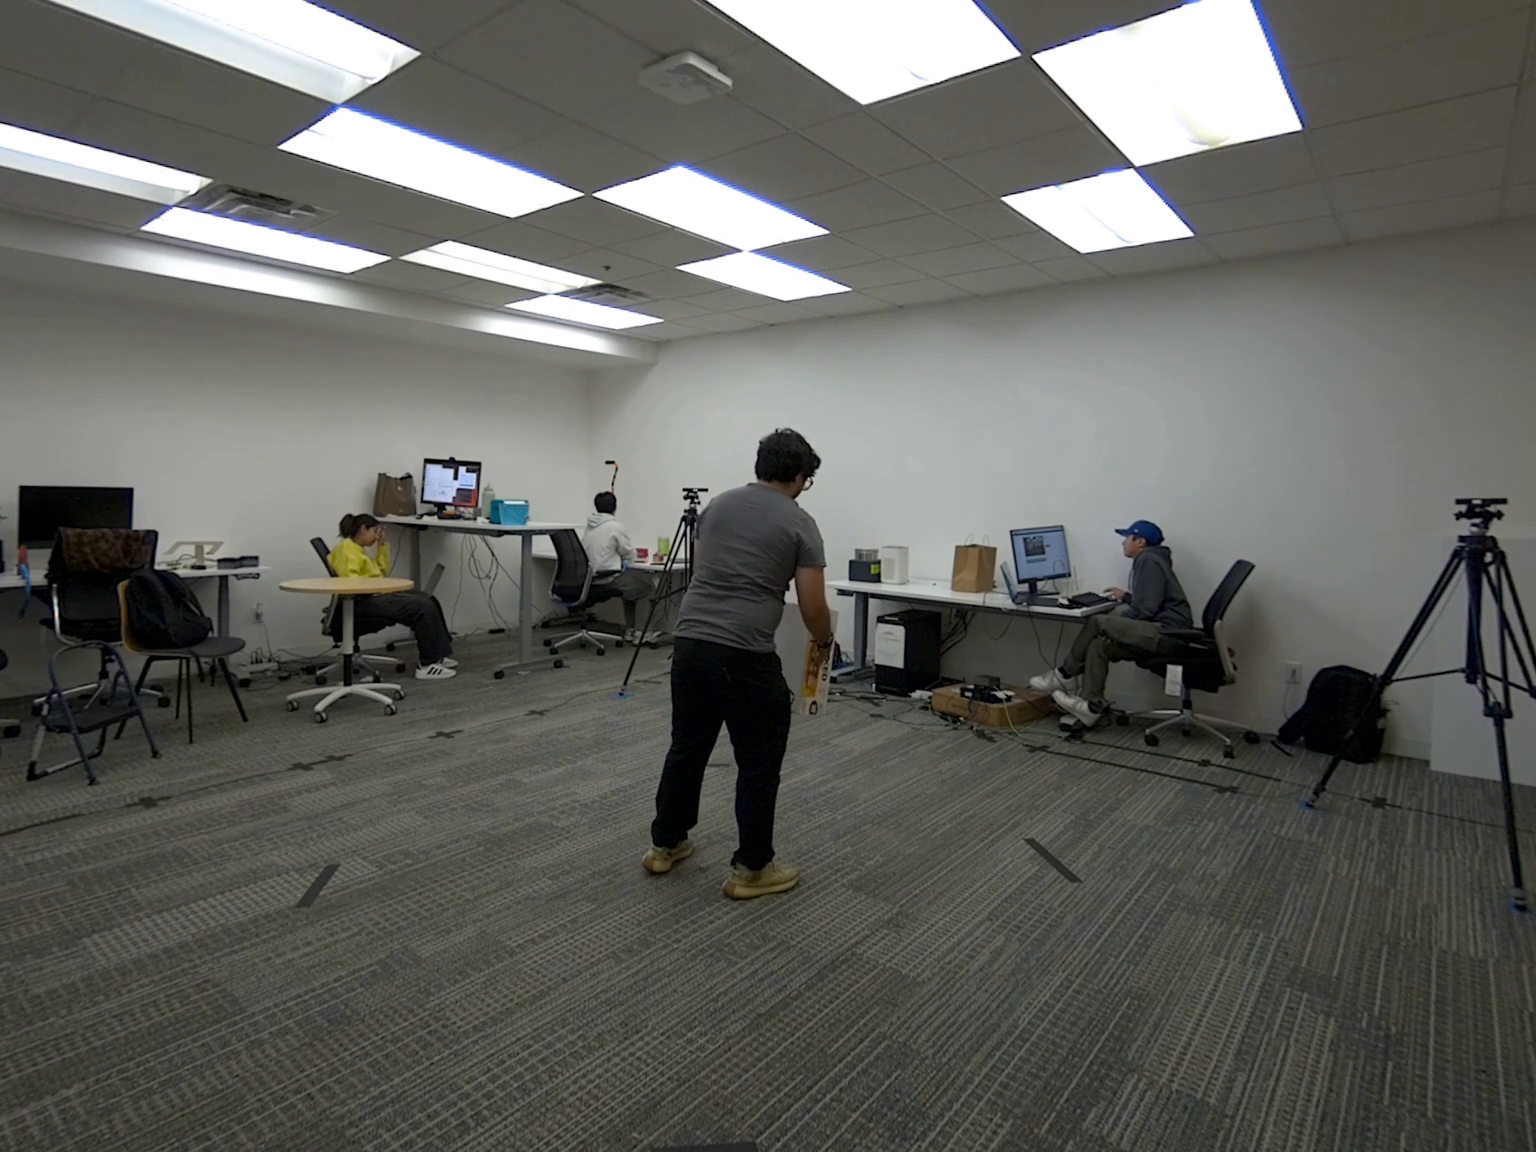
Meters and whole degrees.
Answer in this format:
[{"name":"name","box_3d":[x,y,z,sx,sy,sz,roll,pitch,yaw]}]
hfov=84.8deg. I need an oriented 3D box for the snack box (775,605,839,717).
[{"name":"snack box","box_3d":[0.050,0.298,3.303,0.351,0.407,0.198,5,-7,33]}]
